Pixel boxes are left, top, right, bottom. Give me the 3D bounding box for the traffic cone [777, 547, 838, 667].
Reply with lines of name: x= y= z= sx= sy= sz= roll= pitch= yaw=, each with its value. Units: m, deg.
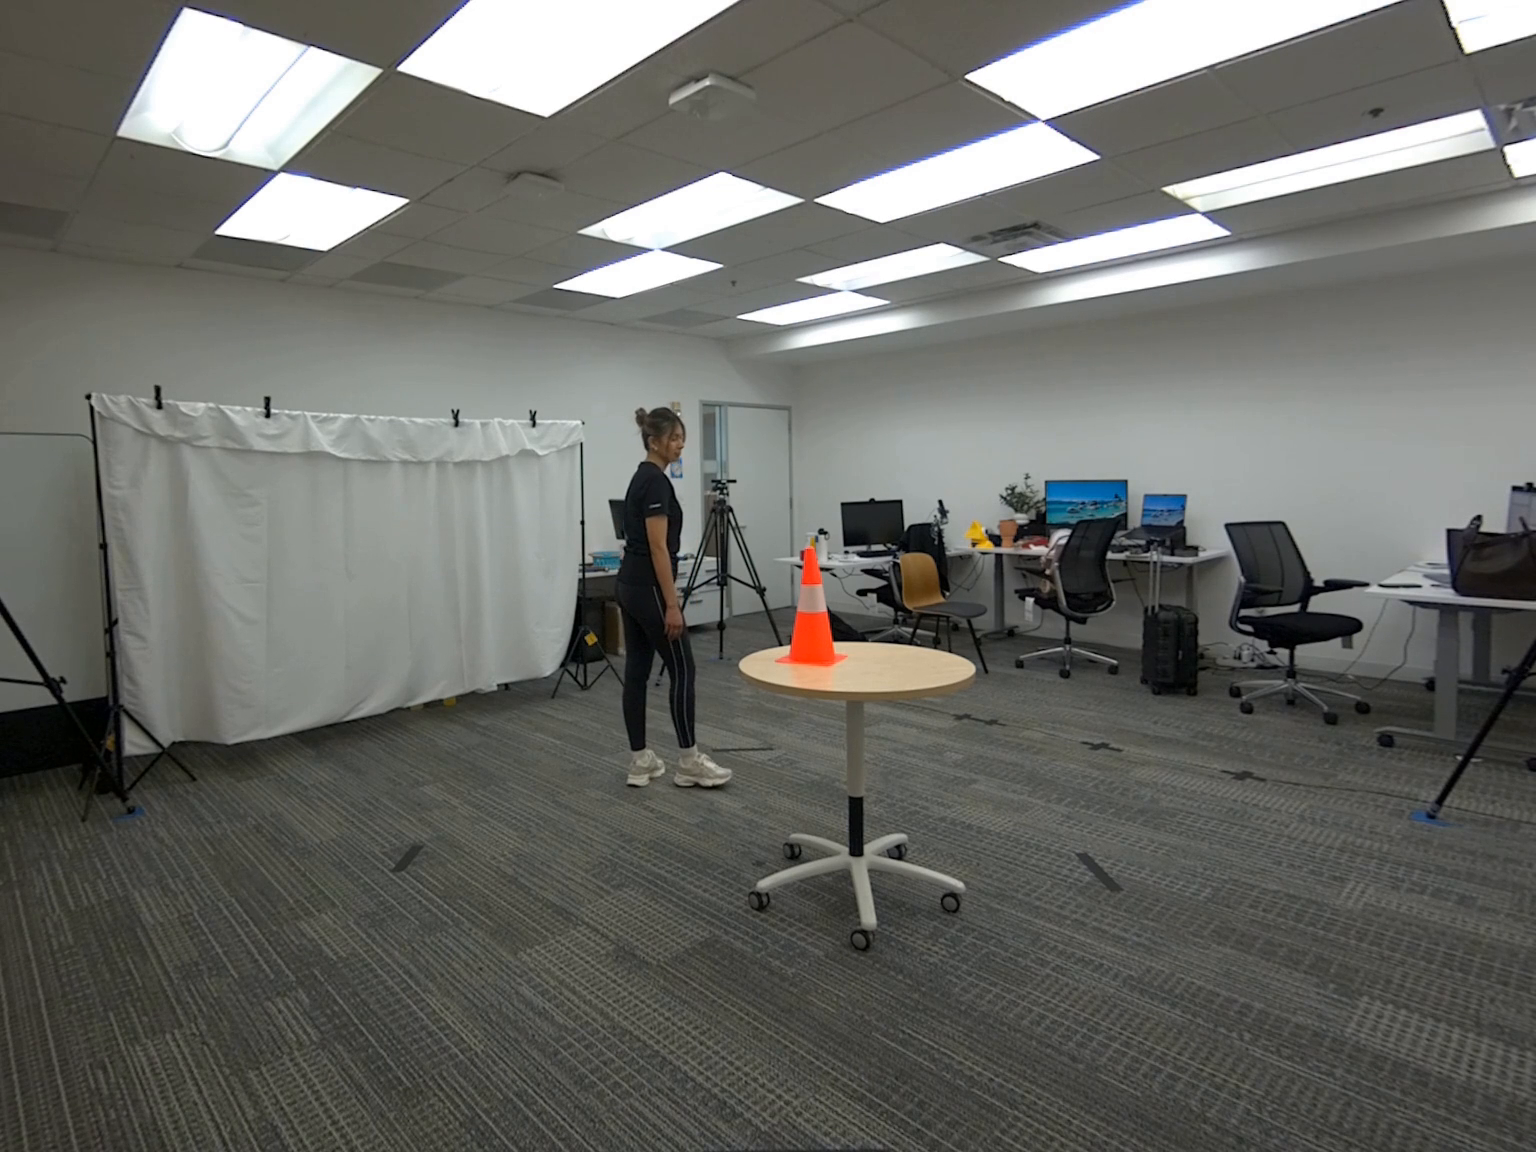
traffic cone: x=0.154 y=0.099 z=2.891 sx=0.210 sy=0.382 sz=0.200 roll=1 pitch=6 yaw=25
